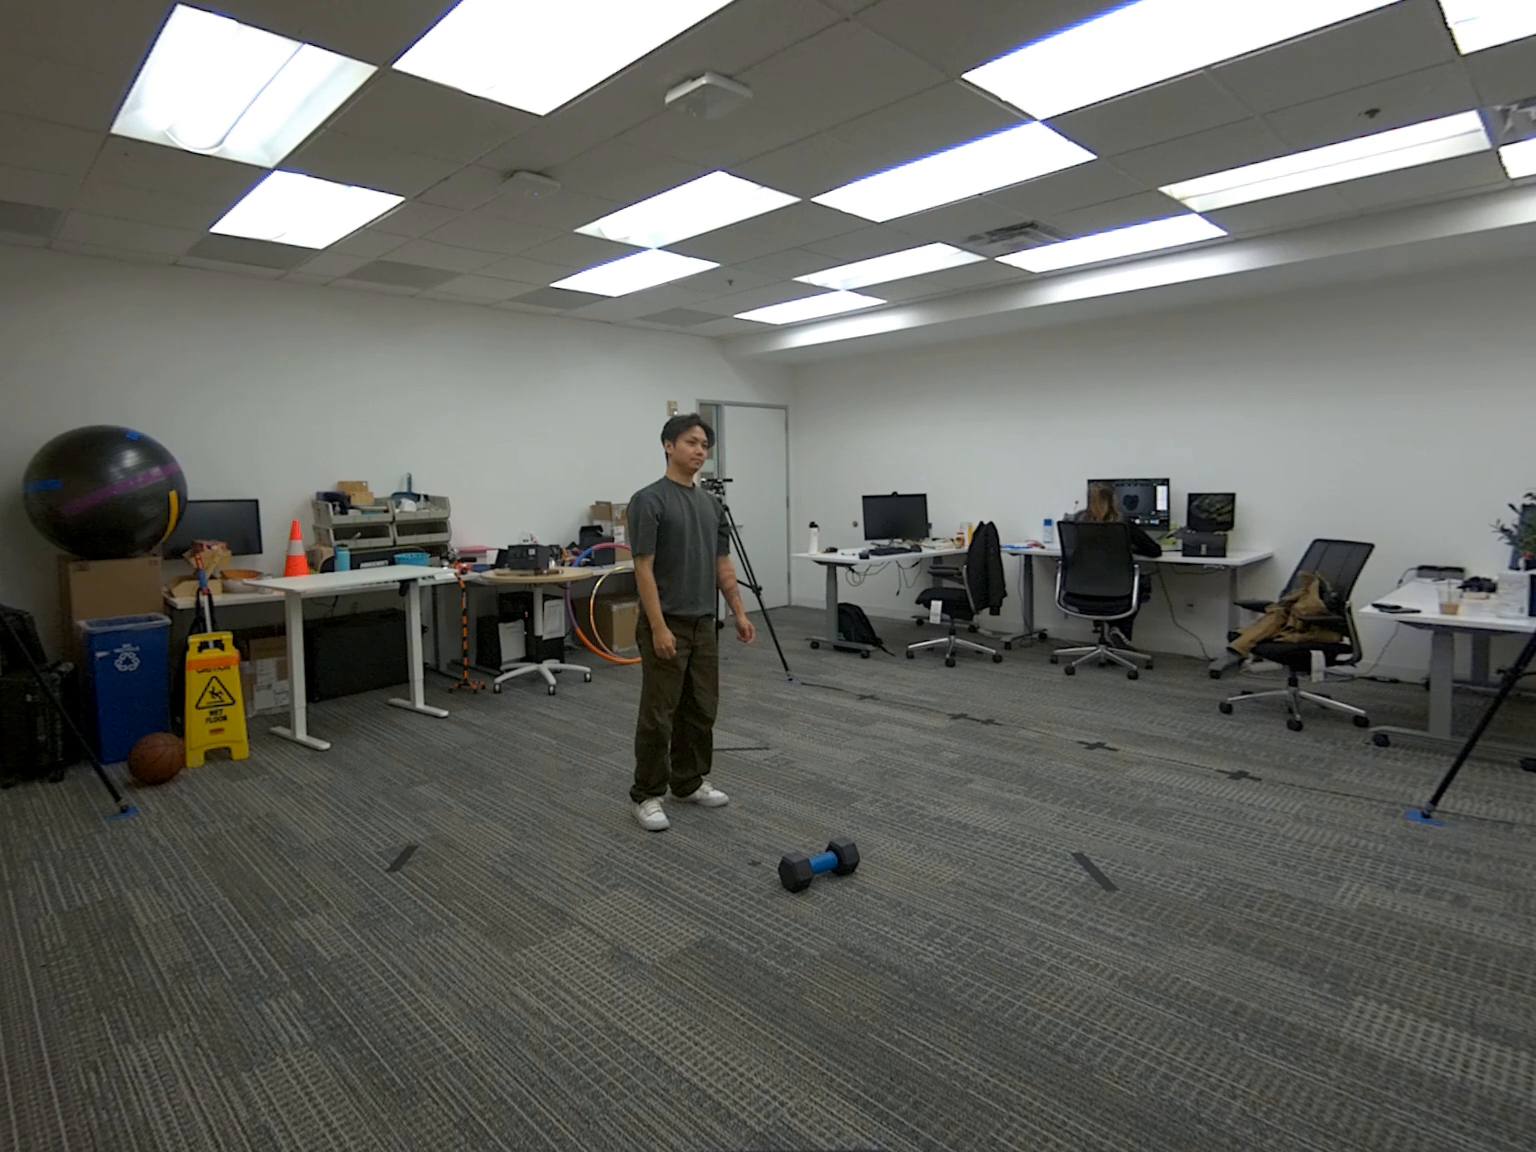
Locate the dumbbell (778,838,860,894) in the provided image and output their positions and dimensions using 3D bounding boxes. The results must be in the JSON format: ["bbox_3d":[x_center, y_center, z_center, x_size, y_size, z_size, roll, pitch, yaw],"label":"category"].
[{"bbox_3d":[0.183,1.000,2.969,0.286,0.121,0.113,-5,38,-34],"label":"dumbbell"}]
